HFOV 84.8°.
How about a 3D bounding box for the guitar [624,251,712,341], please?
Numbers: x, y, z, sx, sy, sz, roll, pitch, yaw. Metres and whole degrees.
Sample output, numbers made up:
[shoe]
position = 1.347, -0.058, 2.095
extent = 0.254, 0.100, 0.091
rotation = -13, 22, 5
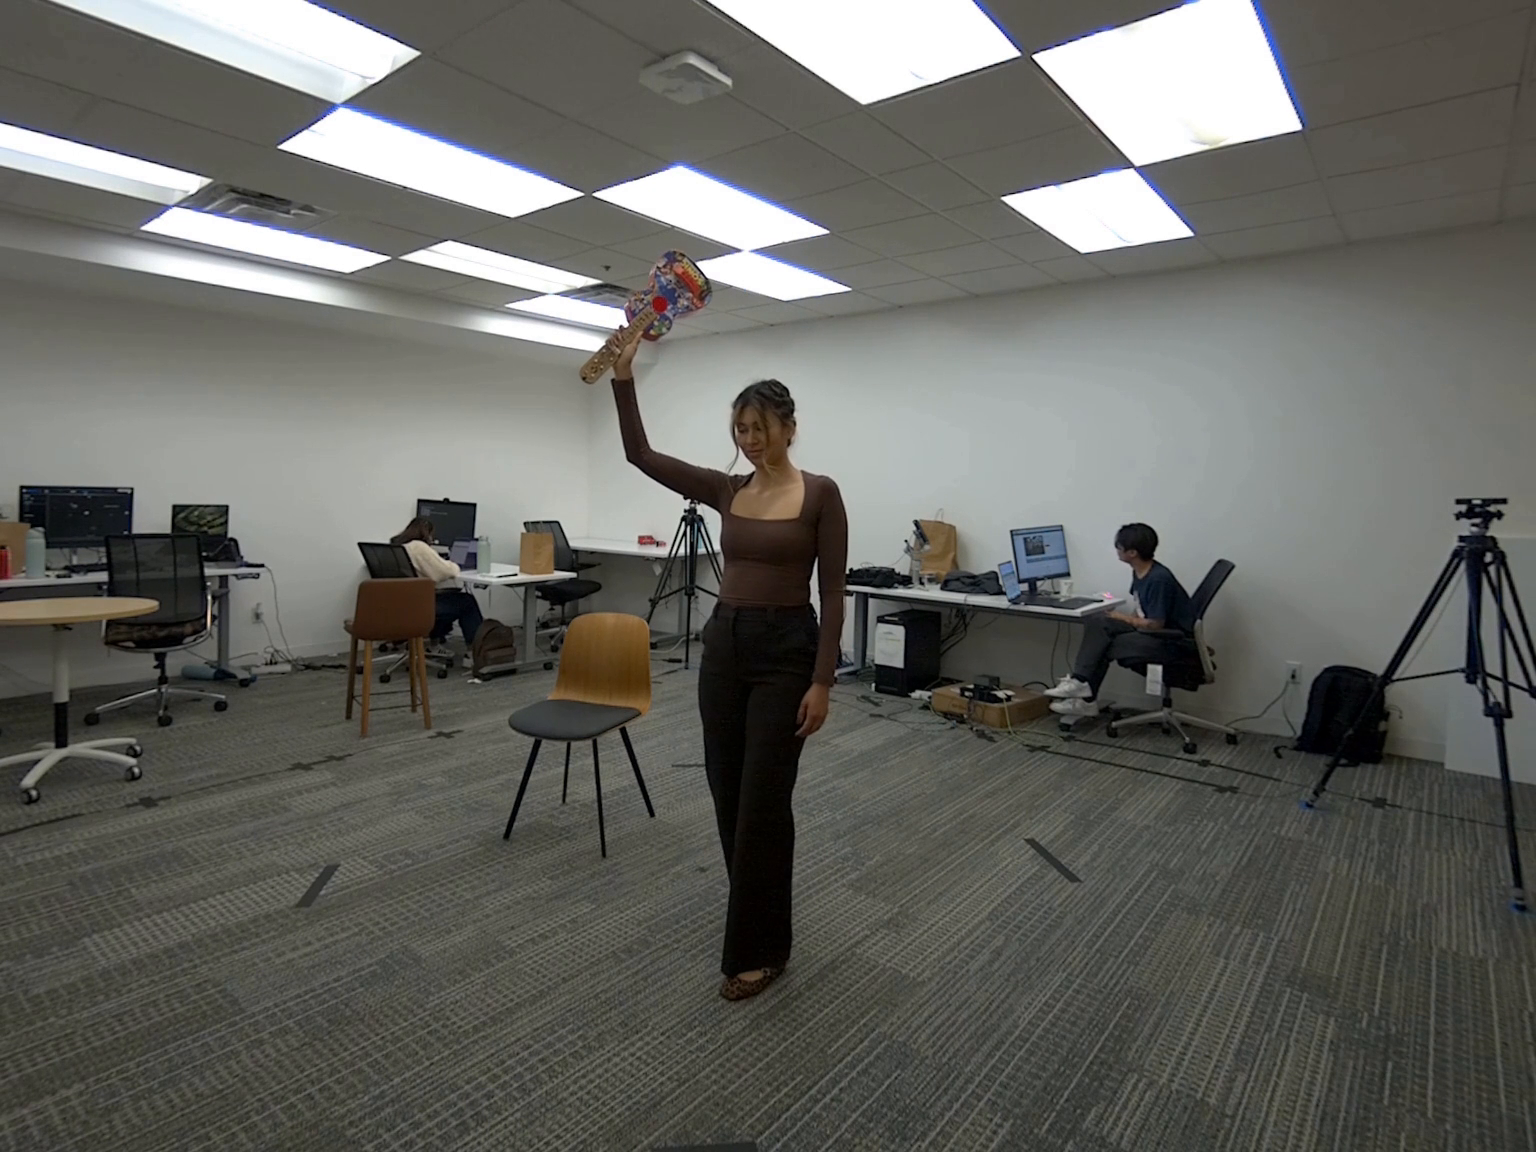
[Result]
[guitar]
position = -0.395, -0.756, 2.467
extent = 0.496, 0.190, 0.072
rotation = -41, 10, -16
